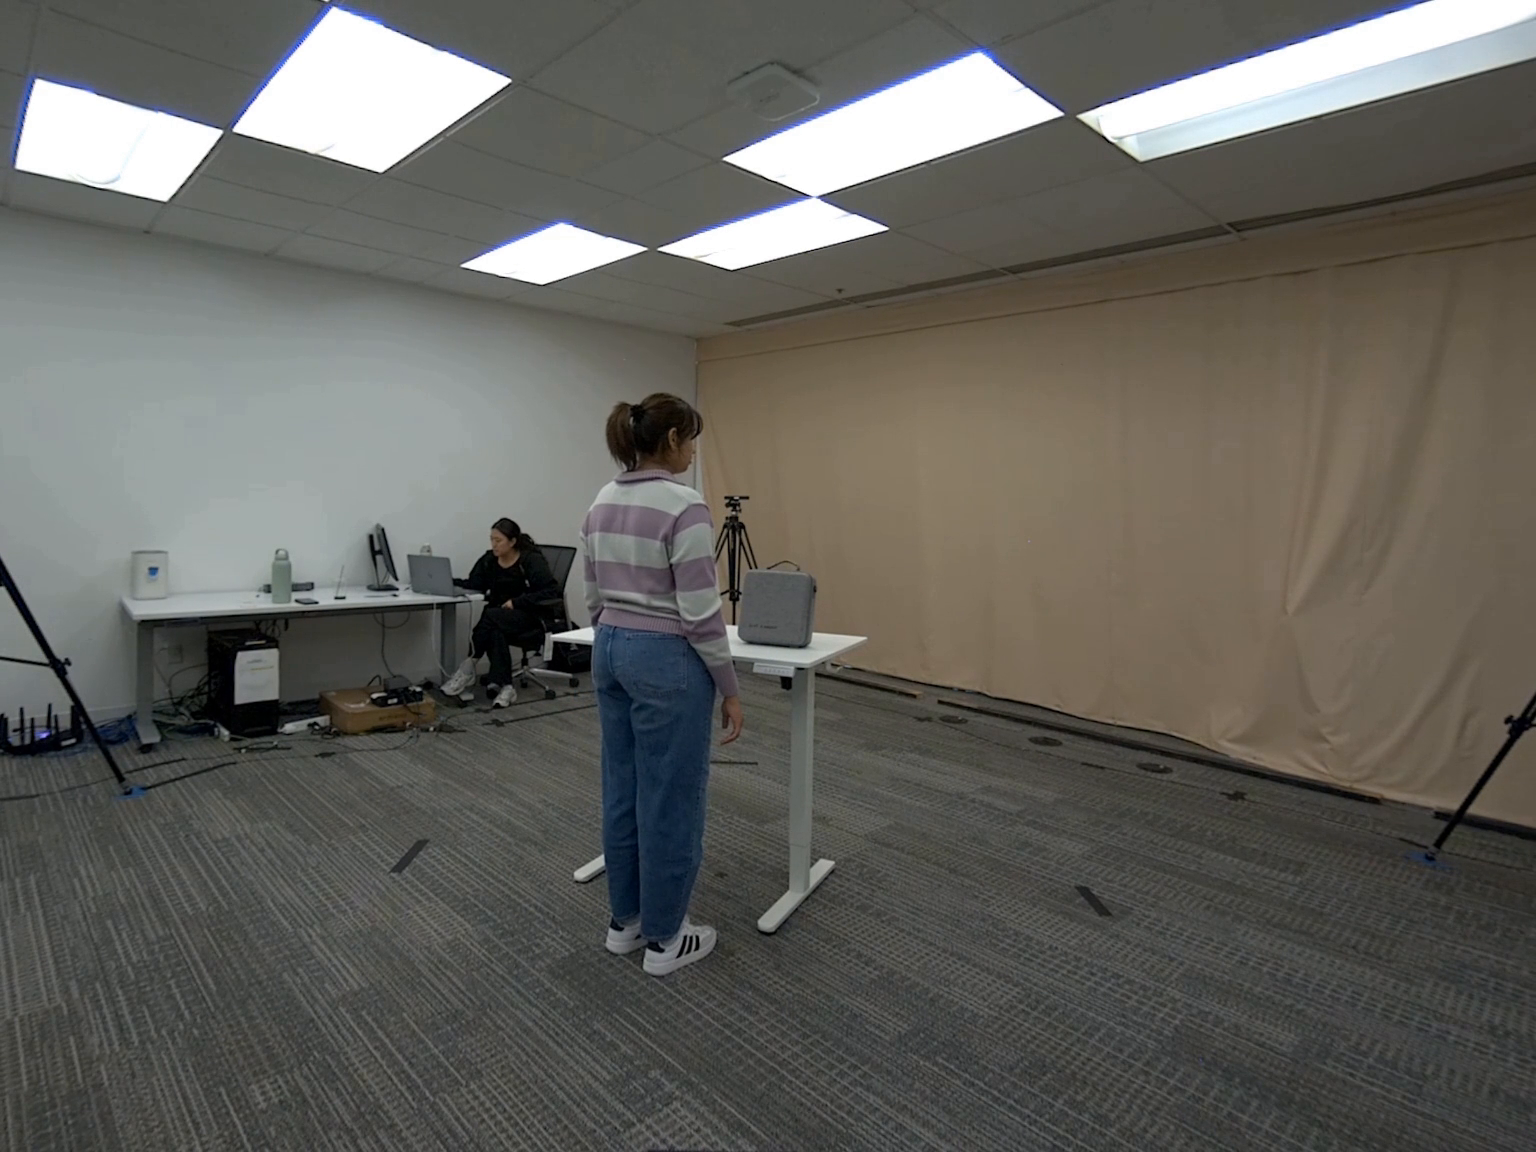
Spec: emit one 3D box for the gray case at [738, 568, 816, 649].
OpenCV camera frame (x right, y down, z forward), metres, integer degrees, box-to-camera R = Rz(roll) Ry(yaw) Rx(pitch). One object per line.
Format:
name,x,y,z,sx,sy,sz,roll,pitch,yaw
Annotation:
gray case,0.022,0.110,2.919,0.262,0.262,0.102,4,-7,25
